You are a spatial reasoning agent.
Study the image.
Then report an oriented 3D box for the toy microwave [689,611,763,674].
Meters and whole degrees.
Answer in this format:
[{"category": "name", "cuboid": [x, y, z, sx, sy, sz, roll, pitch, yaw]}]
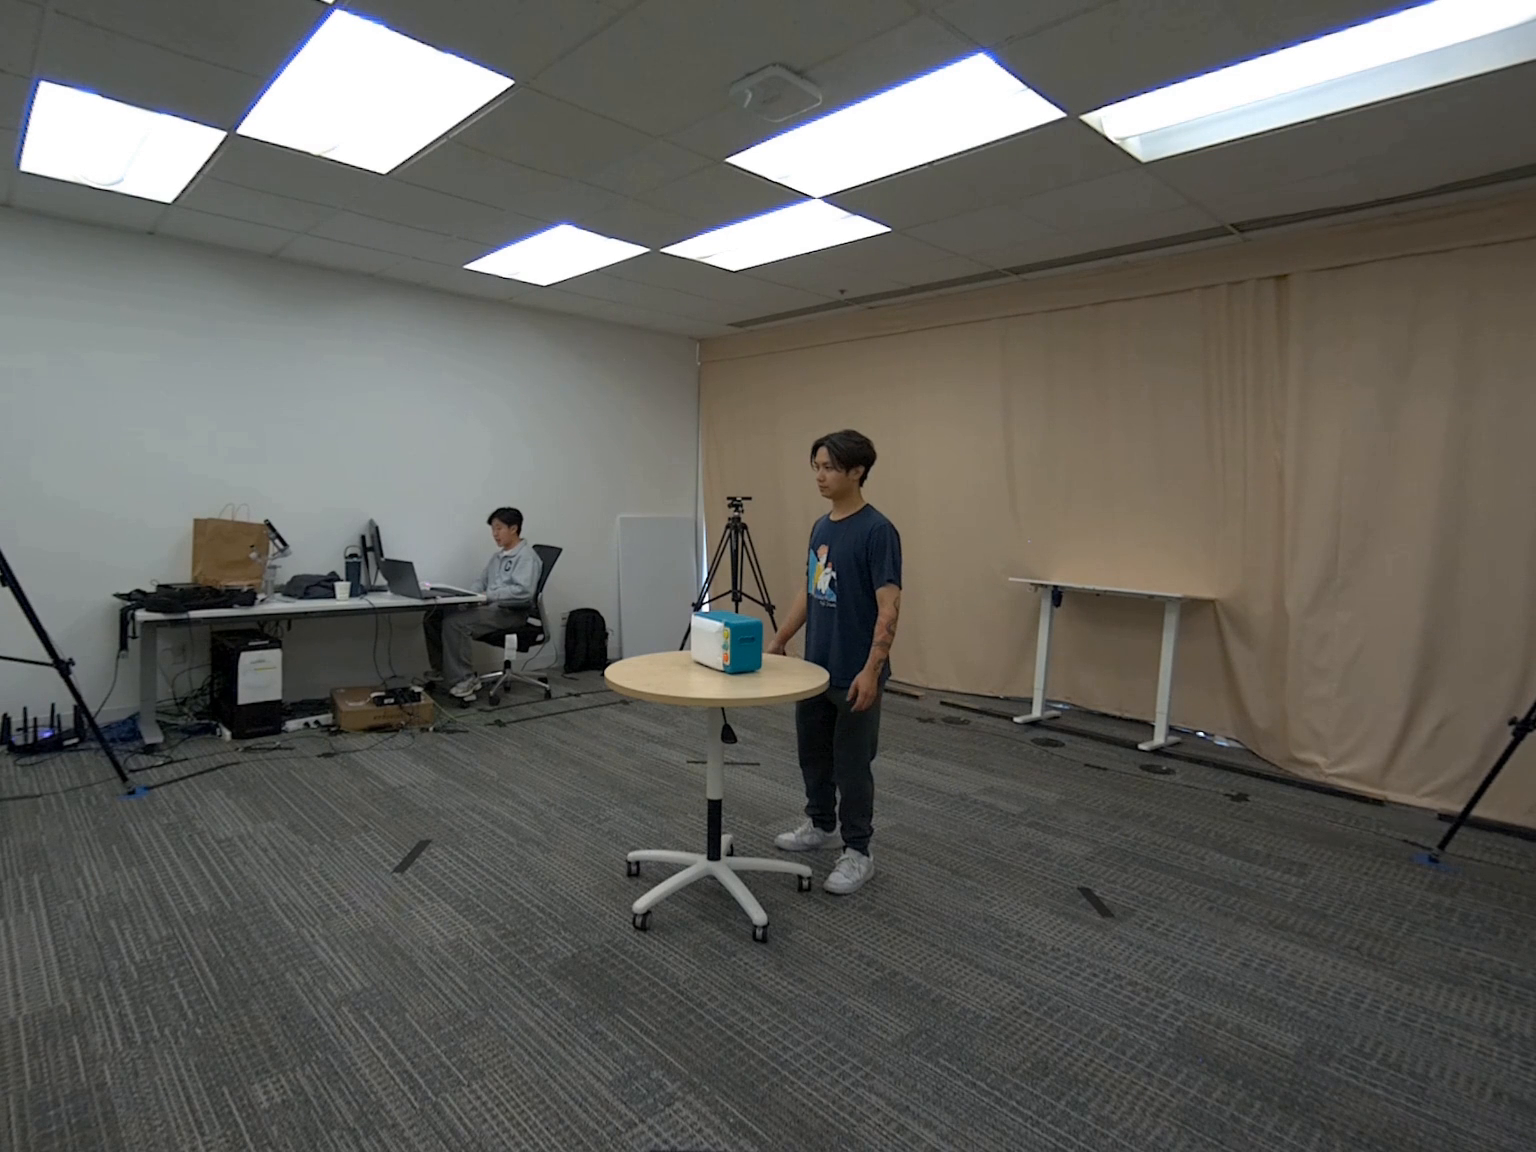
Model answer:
[{"category": "toy microwave", "cuboid": [-0.164, 0.230, 2.948, 0.149, 0.183, 0.293, -2, 6, -33]}]
